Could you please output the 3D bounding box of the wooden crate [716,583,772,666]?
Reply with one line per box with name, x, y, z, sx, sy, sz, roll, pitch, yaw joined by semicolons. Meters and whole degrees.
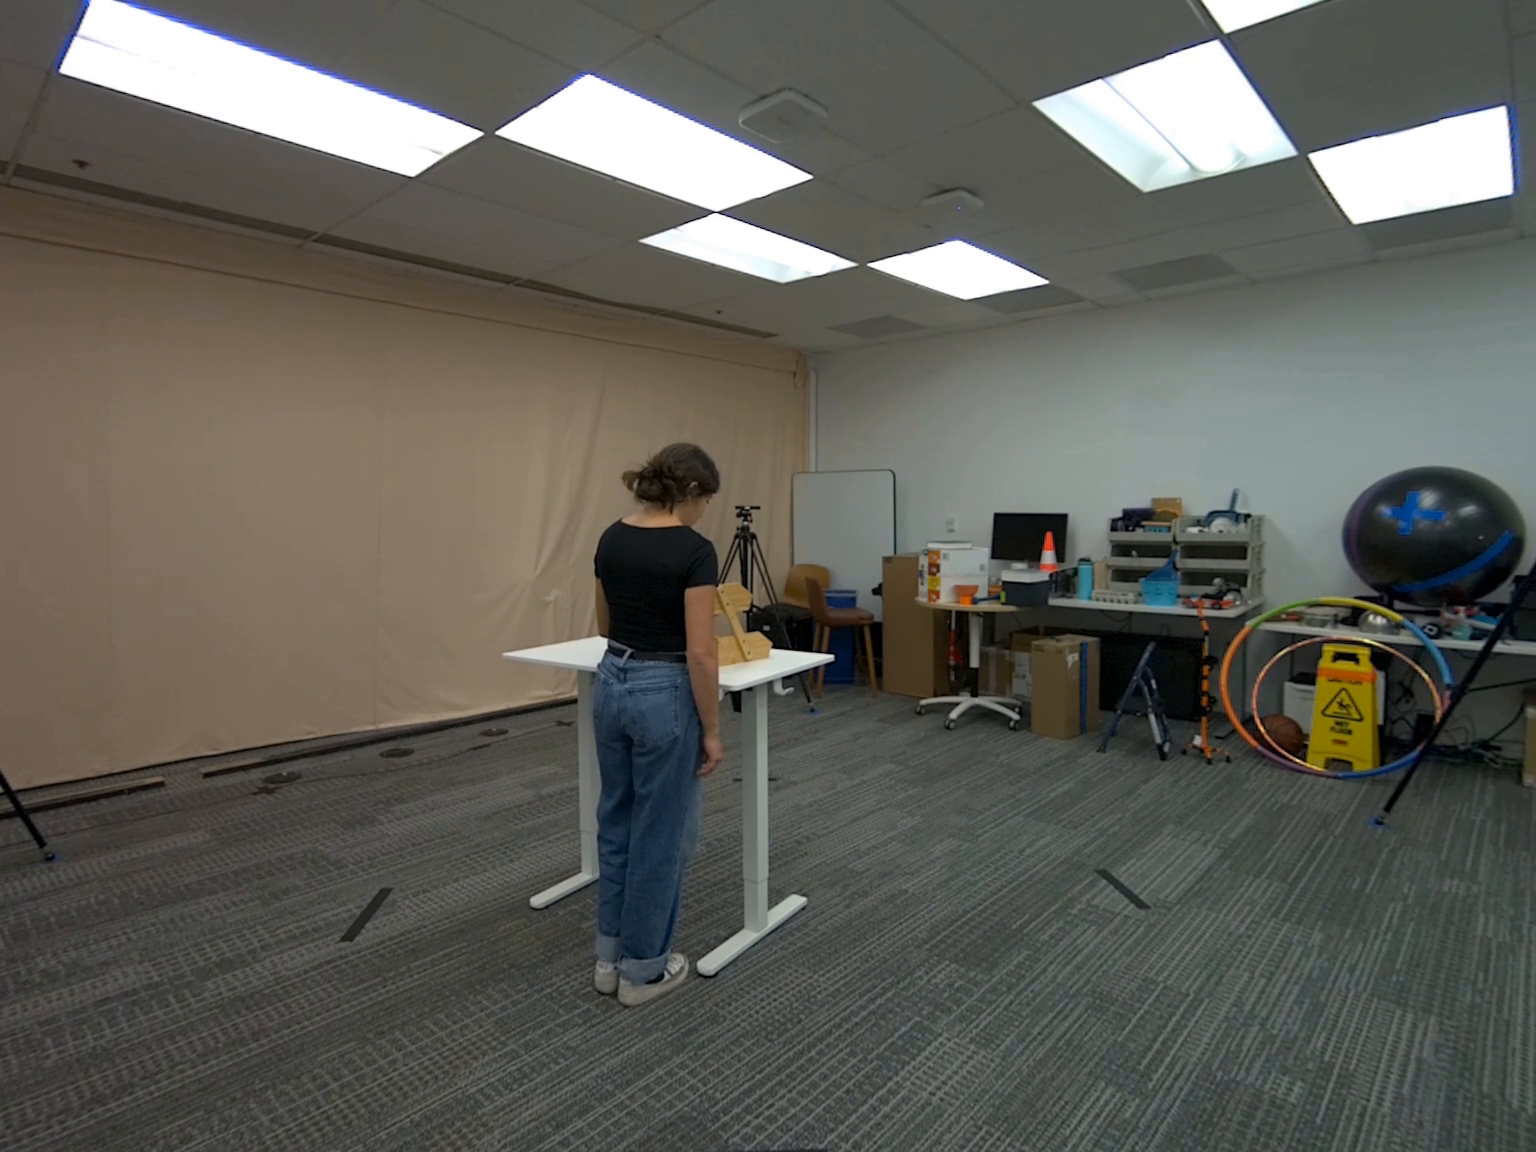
wooden crate;-0.197;0.142;2.833;0.293;0.273;0.335;-5;5;-45
